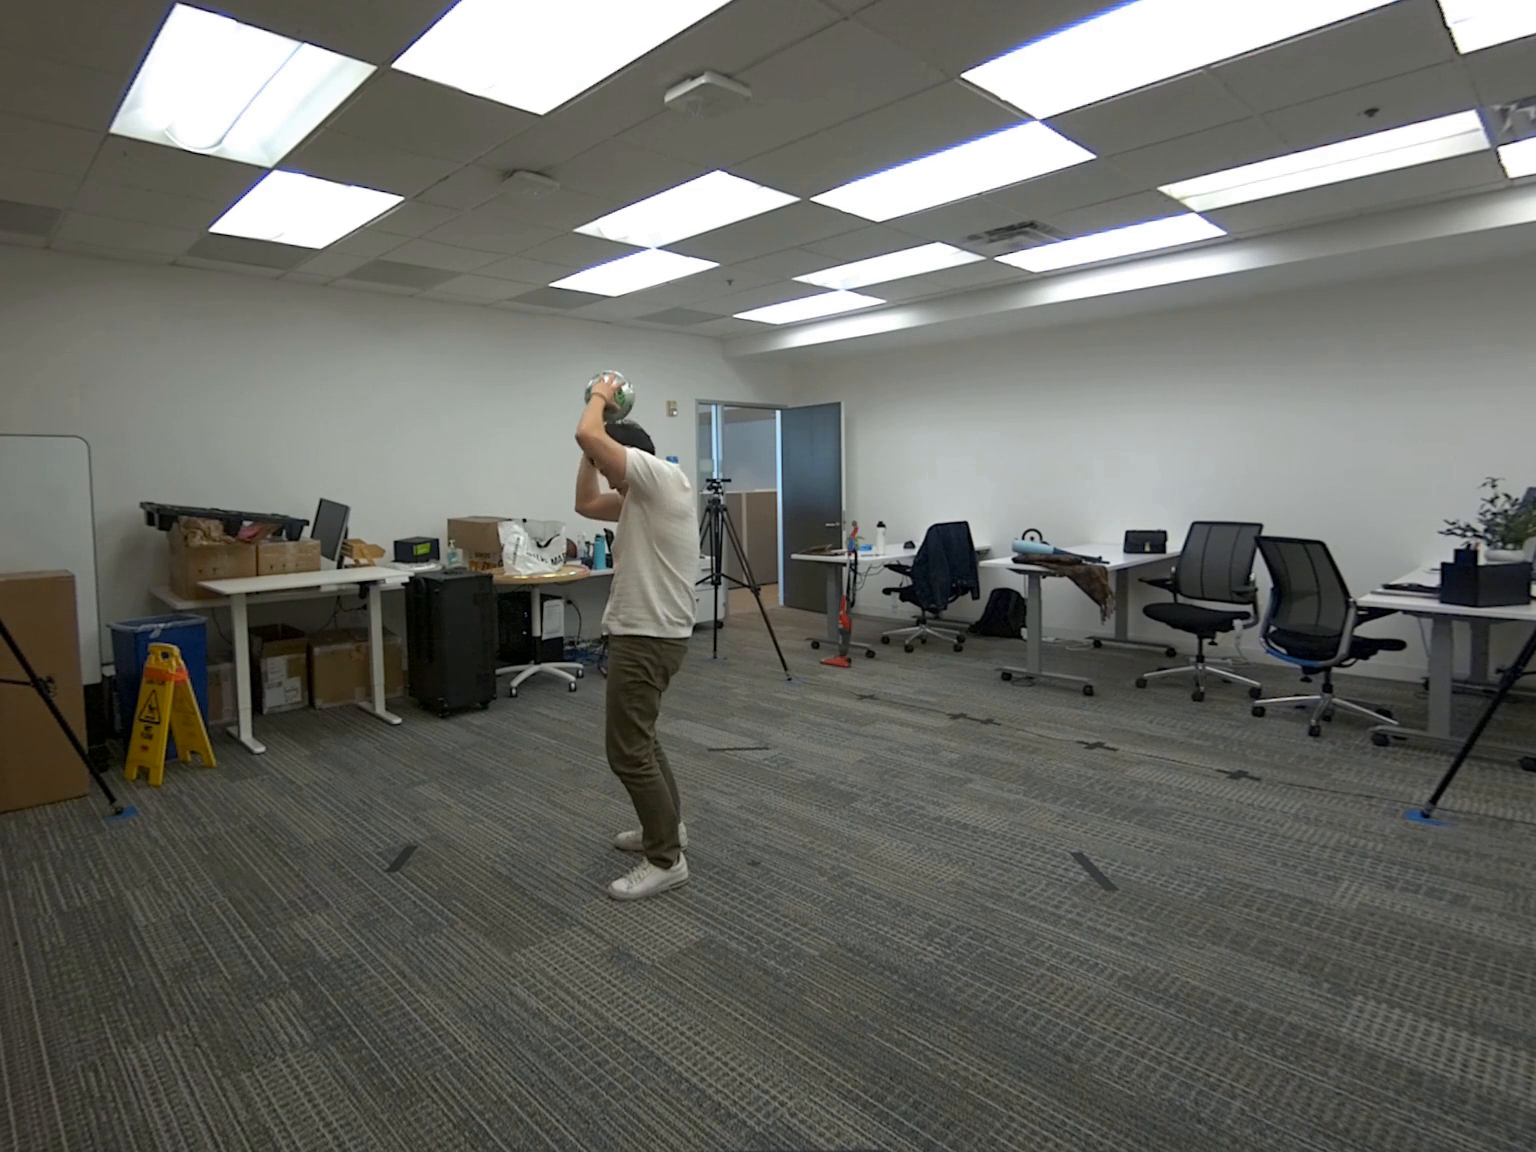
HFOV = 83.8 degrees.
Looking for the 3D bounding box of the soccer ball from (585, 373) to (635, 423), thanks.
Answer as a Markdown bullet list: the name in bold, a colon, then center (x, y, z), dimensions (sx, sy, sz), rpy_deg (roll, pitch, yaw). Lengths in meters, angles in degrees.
- **soccer ball**: center (-0.589, -0.665, 3.183), dimensions (0.187, 0.187, 0.188), rpy_deg (-1, 5, -2)
